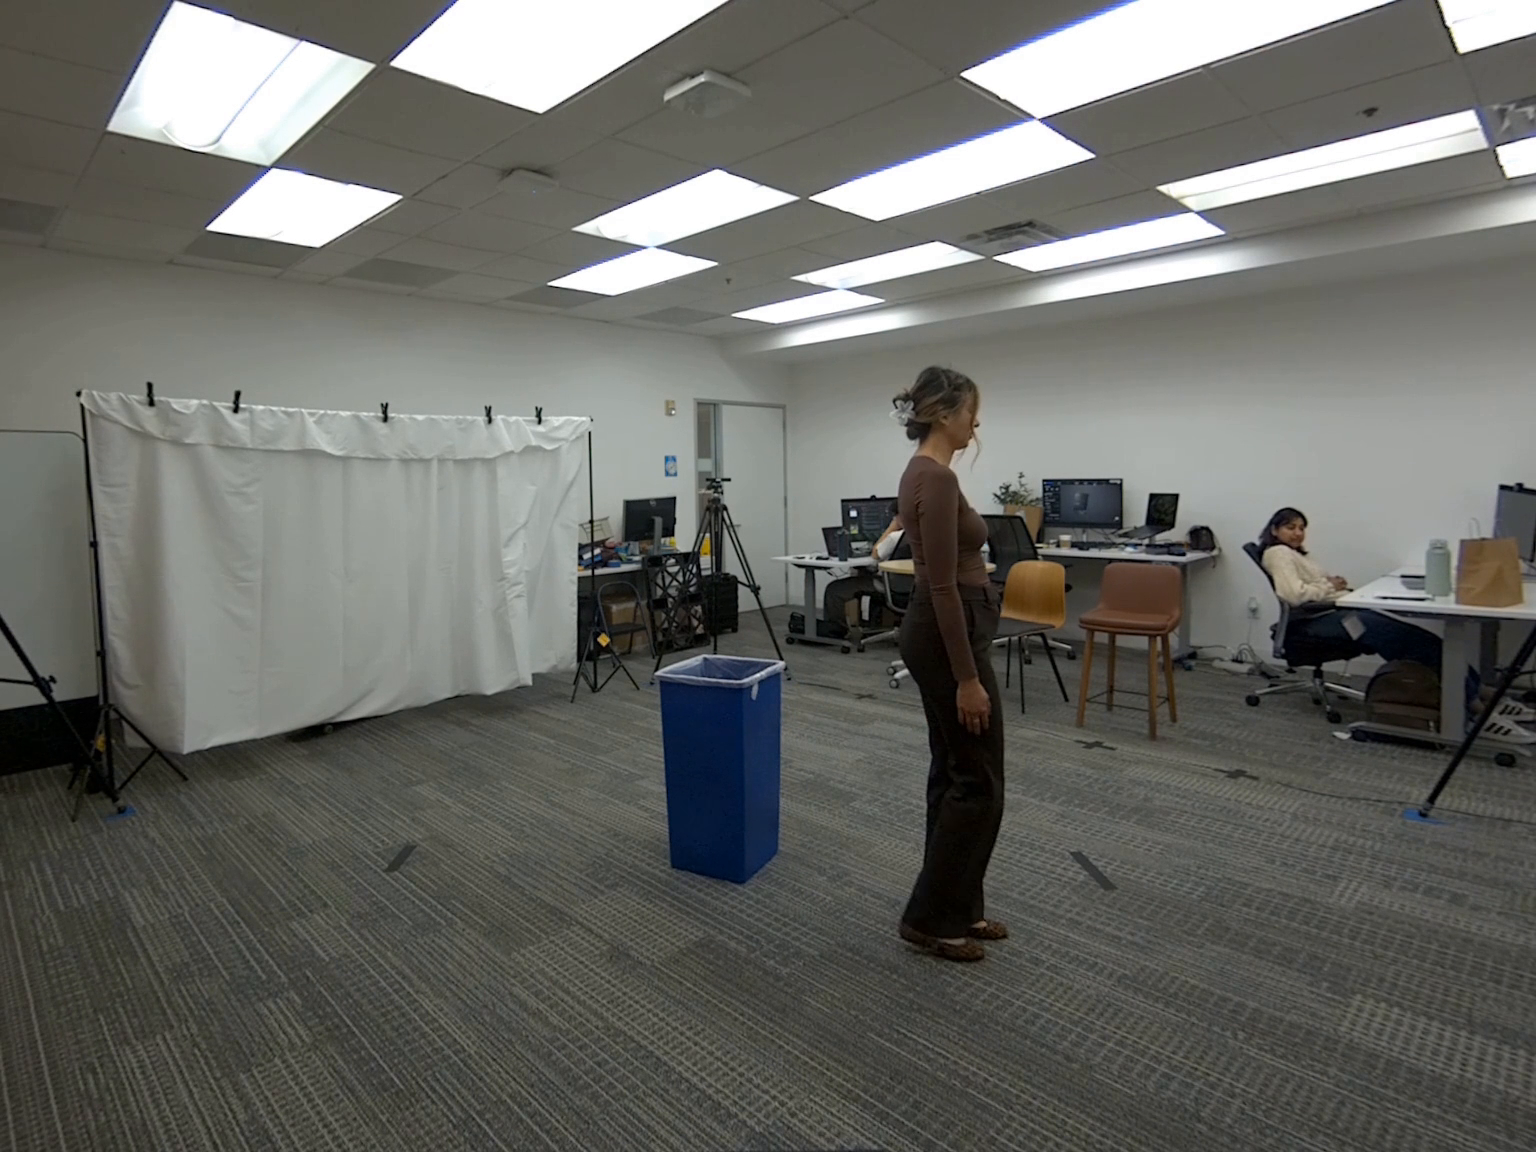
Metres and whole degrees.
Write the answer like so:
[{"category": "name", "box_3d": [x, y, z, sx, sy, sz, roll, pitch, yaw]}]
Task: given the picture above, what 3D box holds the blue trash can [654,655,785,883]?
[{"category": "blue trash can", "box_3d": [-0.157, 0.684, 3.115, 0.387, 0.712, 0.366, 1, 3, 26]}]
